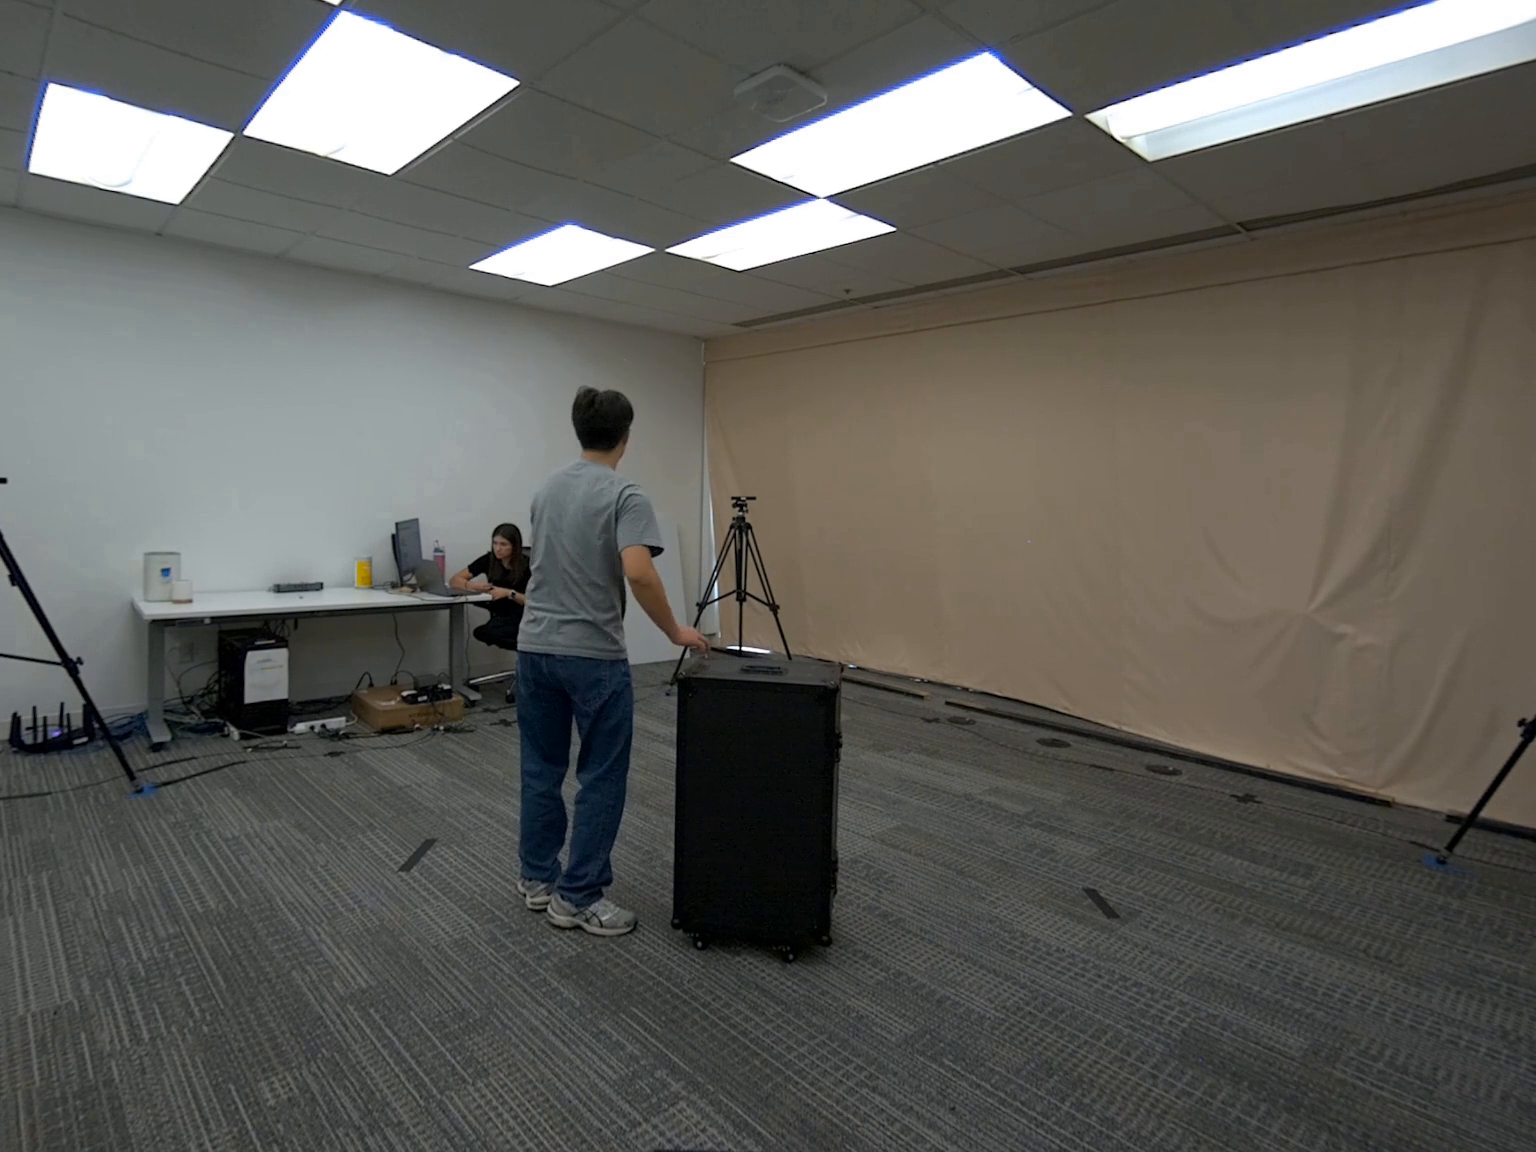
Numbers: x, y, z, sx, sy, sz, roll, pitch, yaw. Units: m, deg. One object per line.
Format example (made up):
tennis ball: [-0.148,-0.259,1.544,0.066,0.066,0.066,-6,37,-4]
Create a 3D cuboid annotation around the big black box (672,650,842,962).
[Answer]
big black box: [-0.034,0.722,2.690,0.526,0.860,0.393,2,3,10]
